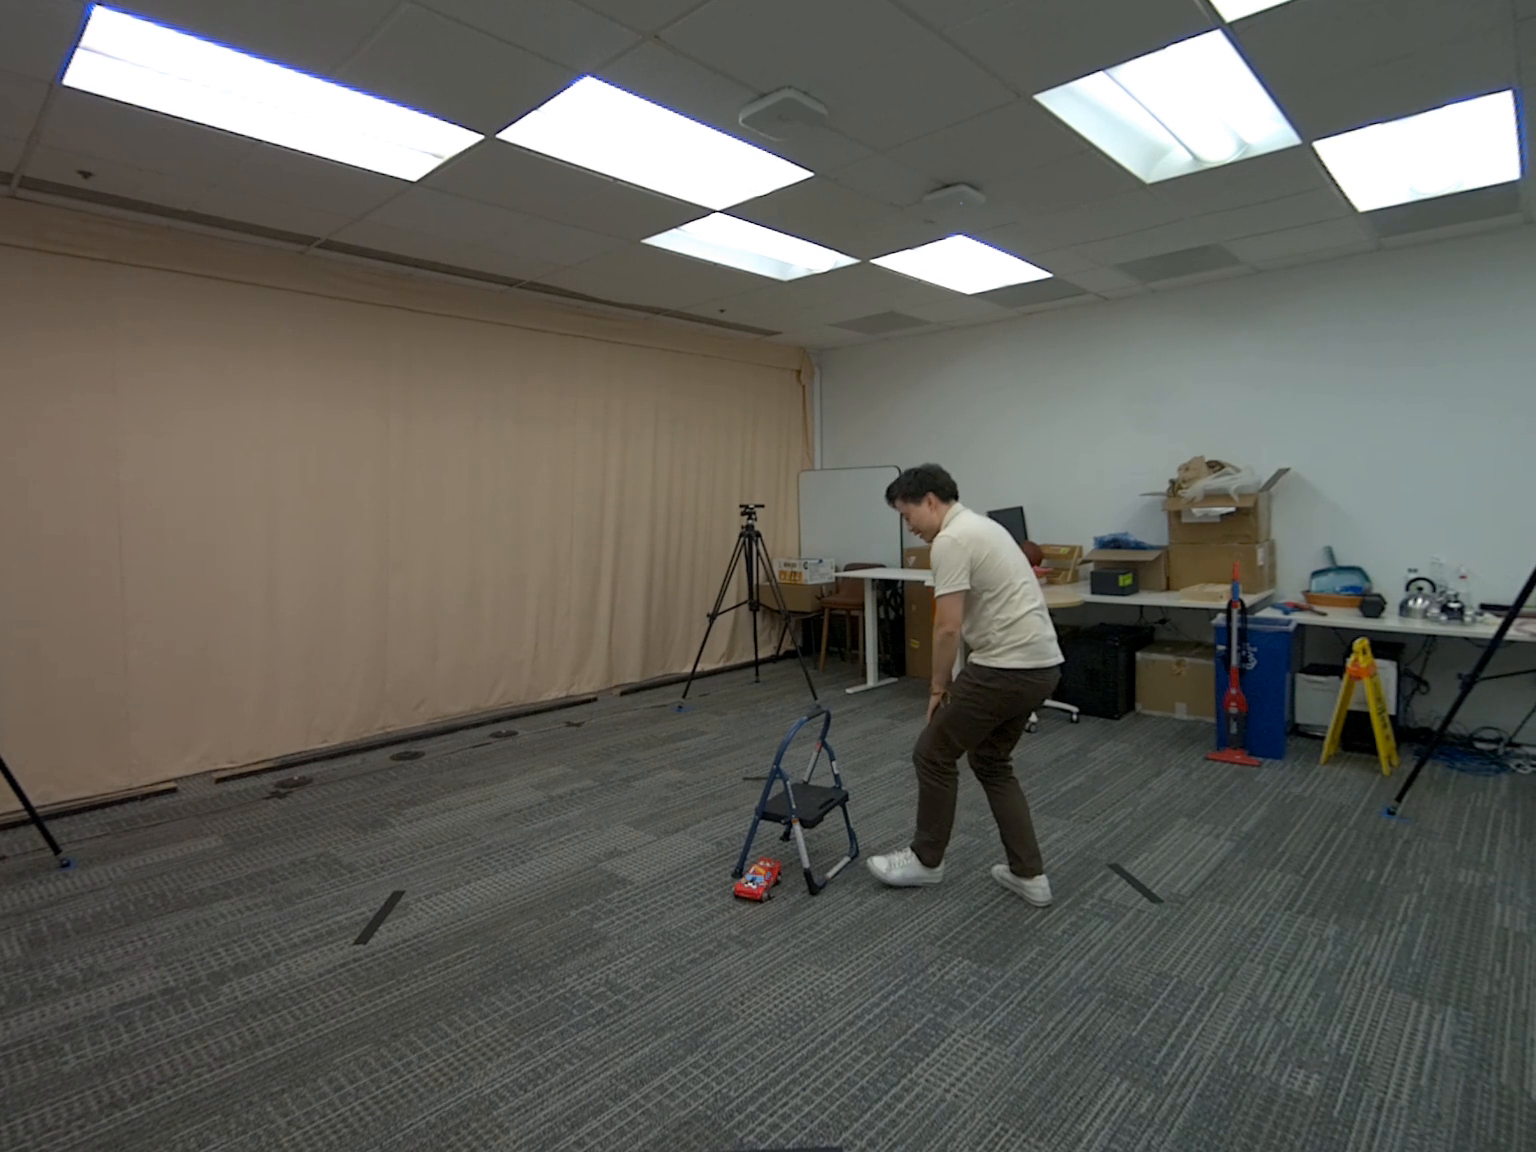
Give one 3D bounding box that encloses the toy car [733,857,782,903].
[{"bbox_3d":[-0.025,1.106,3.053,0.133,0.082,0.251,-1,14,24],"label":"toy car"}]
